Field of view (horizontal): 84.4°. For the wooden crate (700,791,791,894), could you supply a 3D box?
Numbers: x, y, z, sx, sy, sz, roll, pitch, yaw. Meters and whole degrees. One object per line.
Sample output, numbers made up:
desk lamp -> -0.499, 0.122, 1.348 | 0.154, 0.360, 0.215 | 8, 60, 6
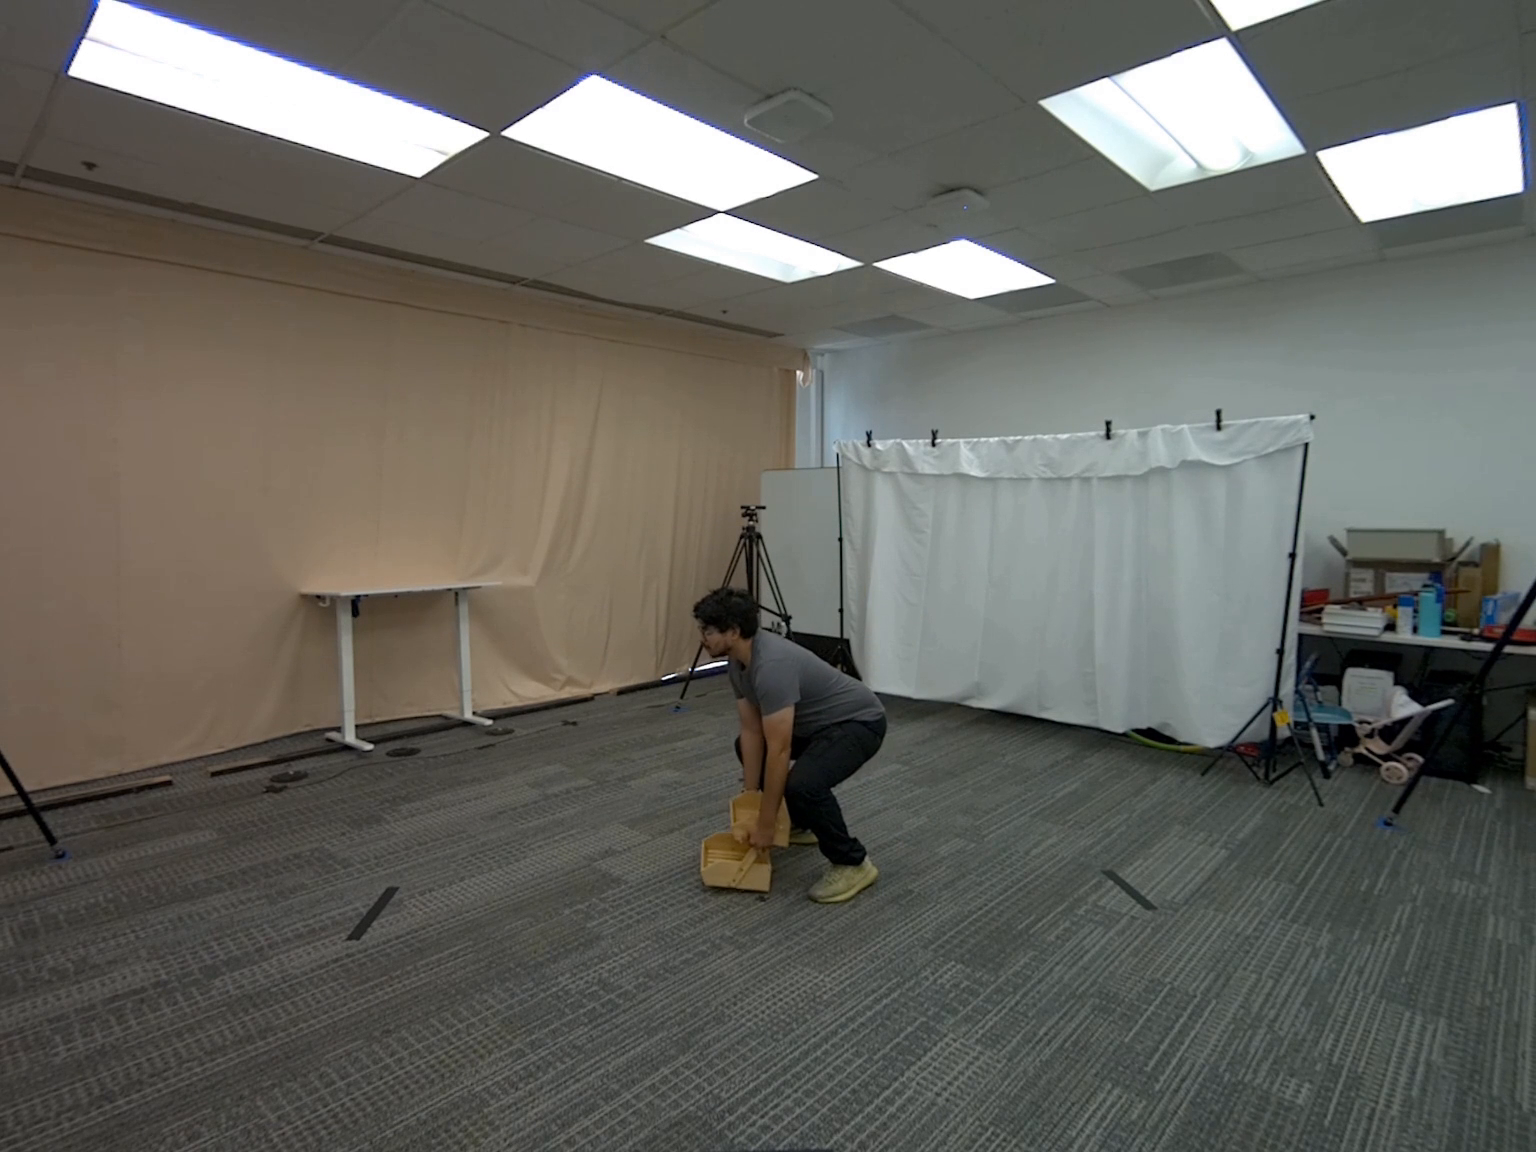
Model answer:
wooden crate -> -0.105, 0.984, 3.178 | 0.303, 0.273, 0.323 | 2, 3, 3
